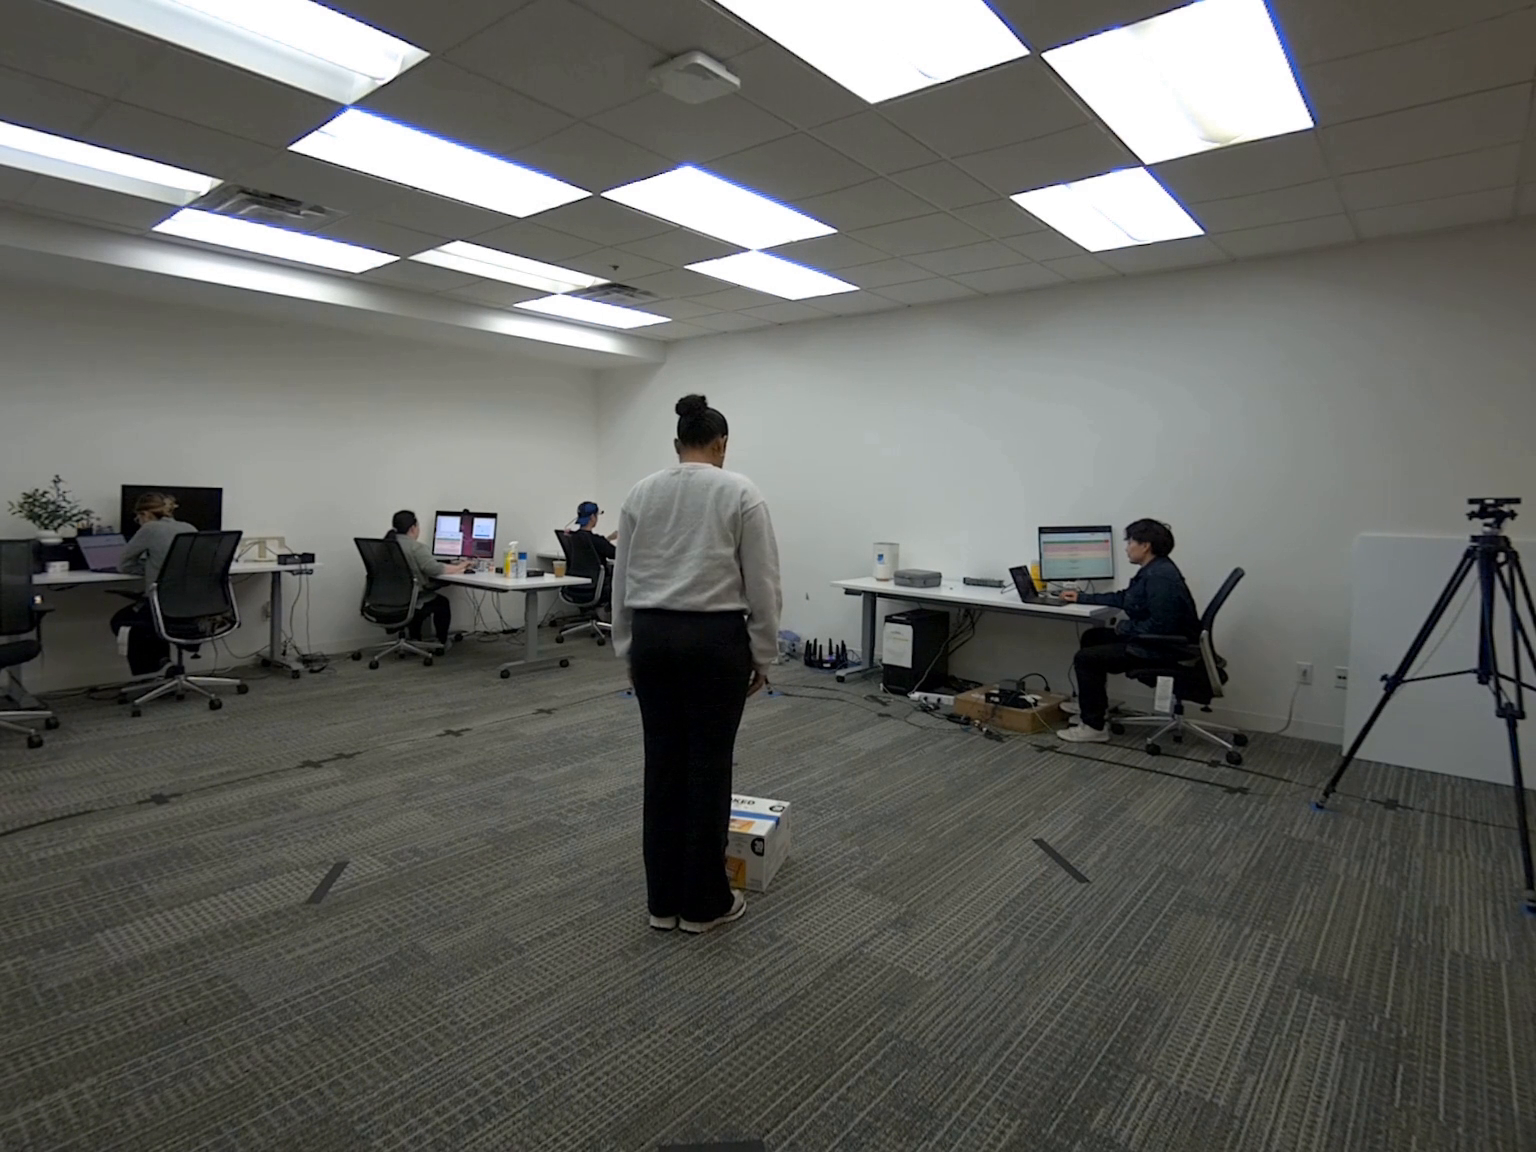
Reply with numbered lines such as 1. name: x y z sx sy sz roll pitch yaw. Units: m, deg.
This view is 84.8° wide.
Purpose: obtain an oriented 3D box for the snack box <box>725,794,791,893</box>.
1. snack box: -0.165 0.963 3.142 0.413 0.205 0.335 2 6 19
